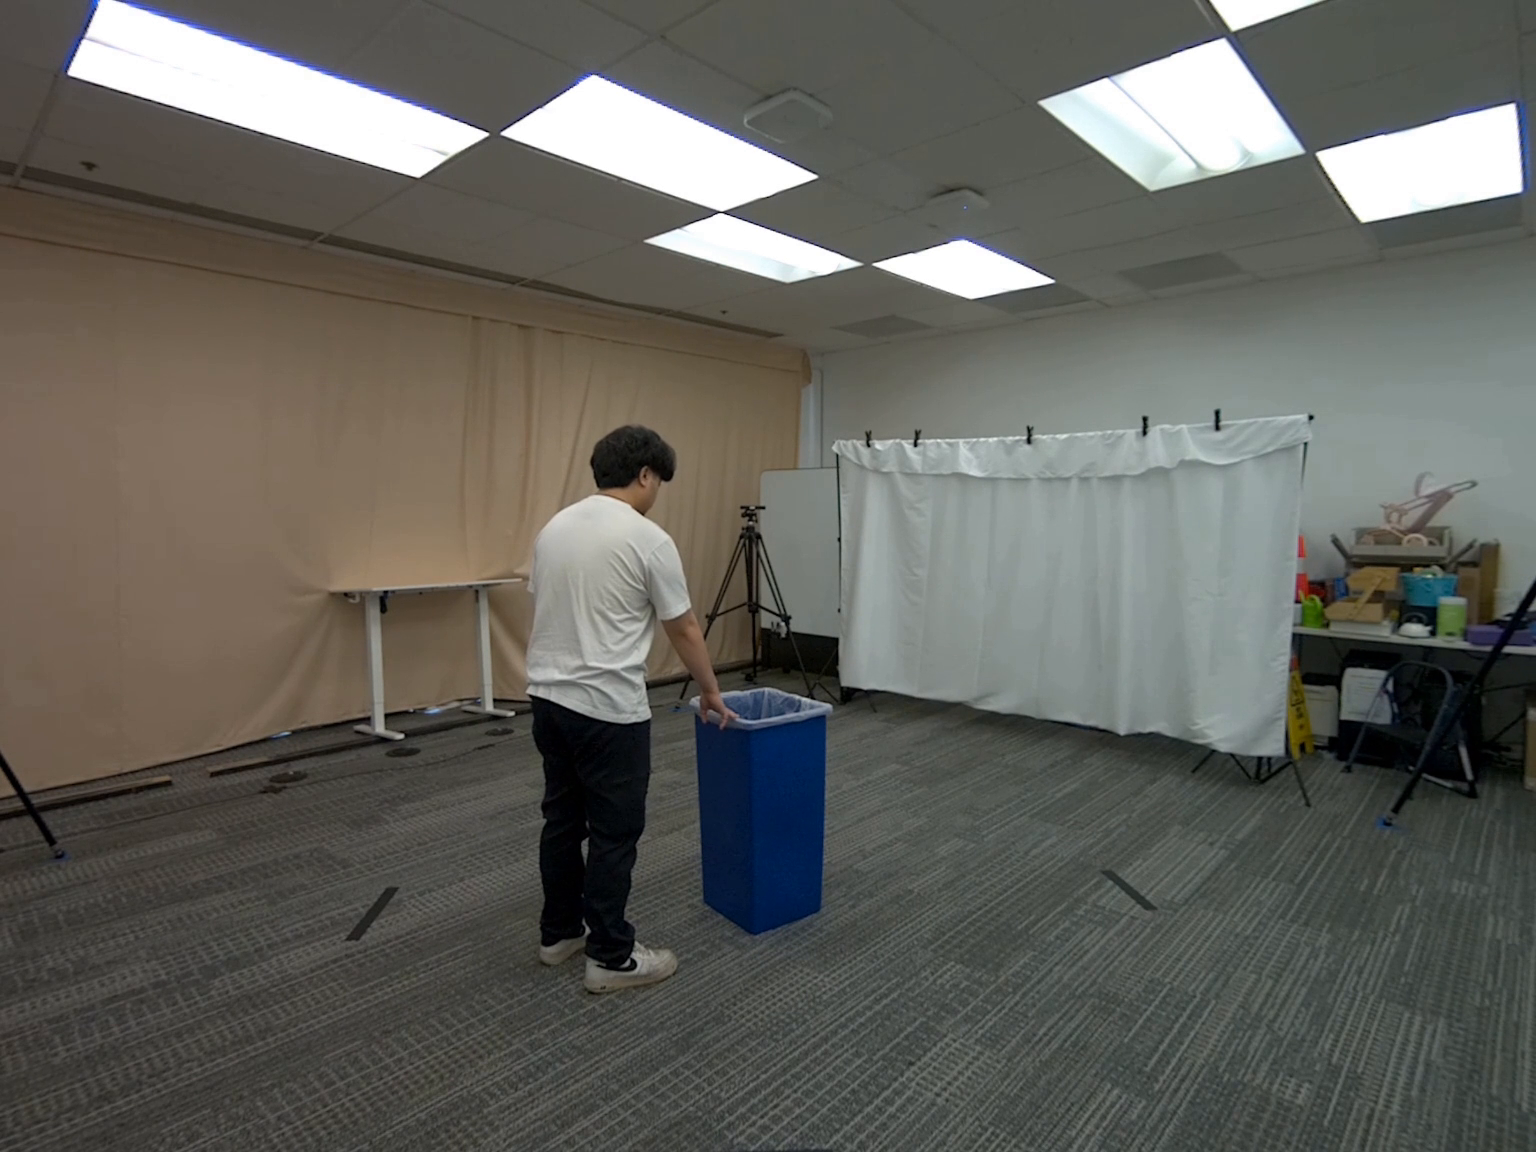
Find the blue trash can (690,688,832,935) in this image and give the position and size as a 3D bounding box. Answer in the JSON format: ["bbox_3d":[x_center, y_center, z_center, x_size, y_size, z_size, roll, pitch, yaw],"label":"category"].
[{"bbox_3d":[-0.026,0.793,2.907,0.363,0.712,0.390,-2,4,-37],"label":"blue trash can"}]
